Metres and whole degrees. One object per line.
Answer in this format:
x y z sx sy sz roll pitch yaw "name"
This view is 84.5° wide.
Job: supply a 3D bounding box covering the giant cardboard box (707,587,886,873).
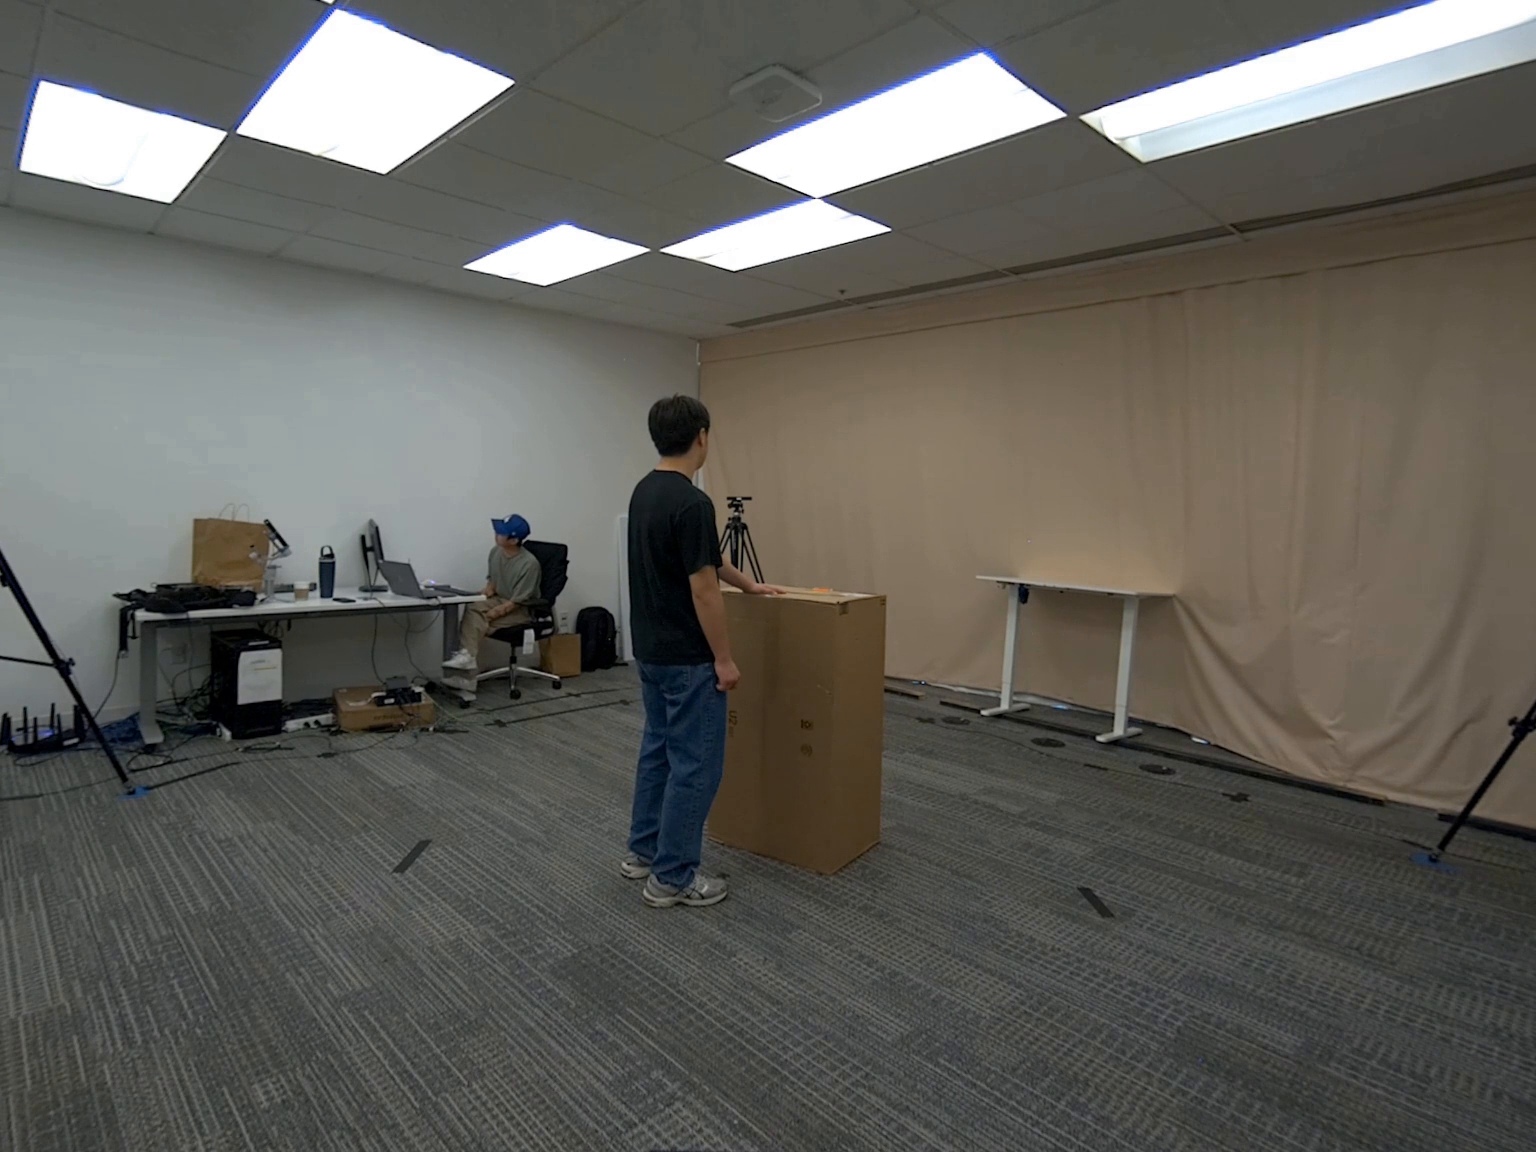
0.118 0.573 3.431 0.598 1.025 0.437 3 3 36 "giant cardboard box"
